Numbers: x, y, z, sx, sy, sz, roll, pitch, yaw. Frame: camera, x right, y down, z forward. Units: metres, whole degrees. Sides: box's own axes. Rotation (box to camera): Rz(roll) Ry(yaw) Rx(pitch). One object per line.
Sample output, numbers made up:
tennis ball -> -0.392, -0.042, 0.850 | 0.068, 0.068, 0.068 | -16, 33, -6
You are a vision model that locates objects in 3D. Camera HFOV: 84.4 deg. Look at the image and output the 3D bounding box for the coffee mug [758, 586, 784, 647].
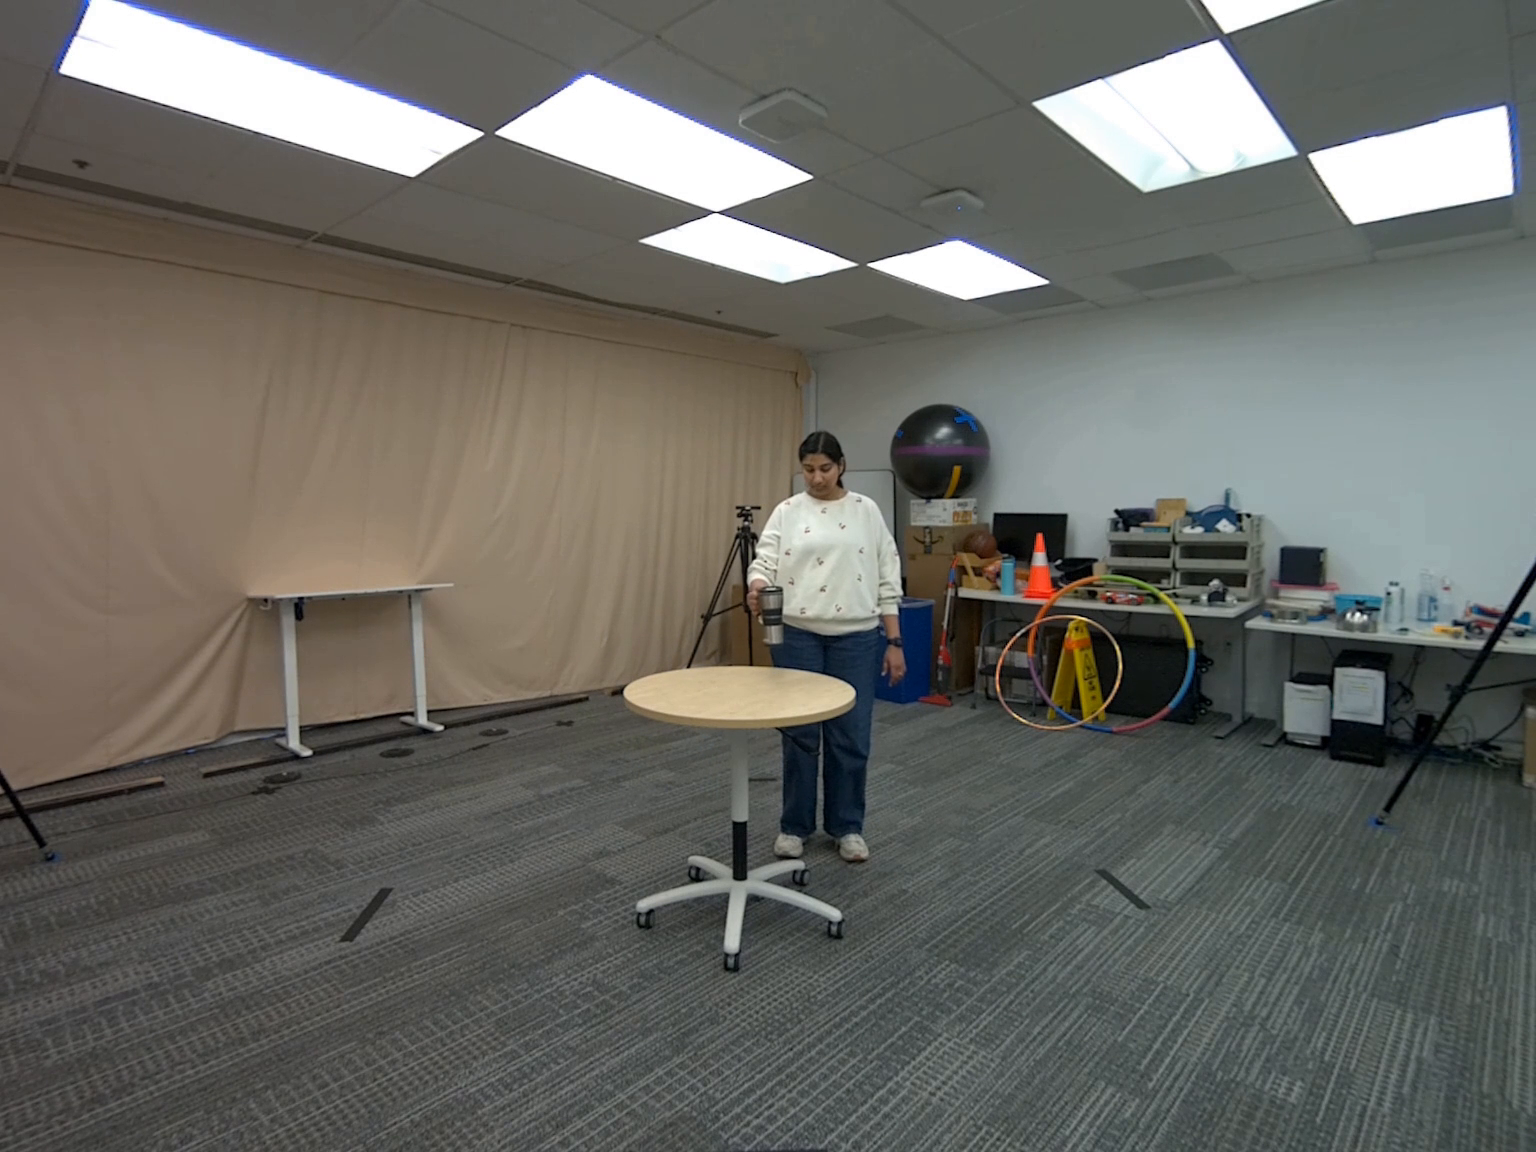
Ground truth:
coffee mug -> 0.017, 0.140, 2.944 | 0.087, 0.202, 0.123 | -6, 5, -6
